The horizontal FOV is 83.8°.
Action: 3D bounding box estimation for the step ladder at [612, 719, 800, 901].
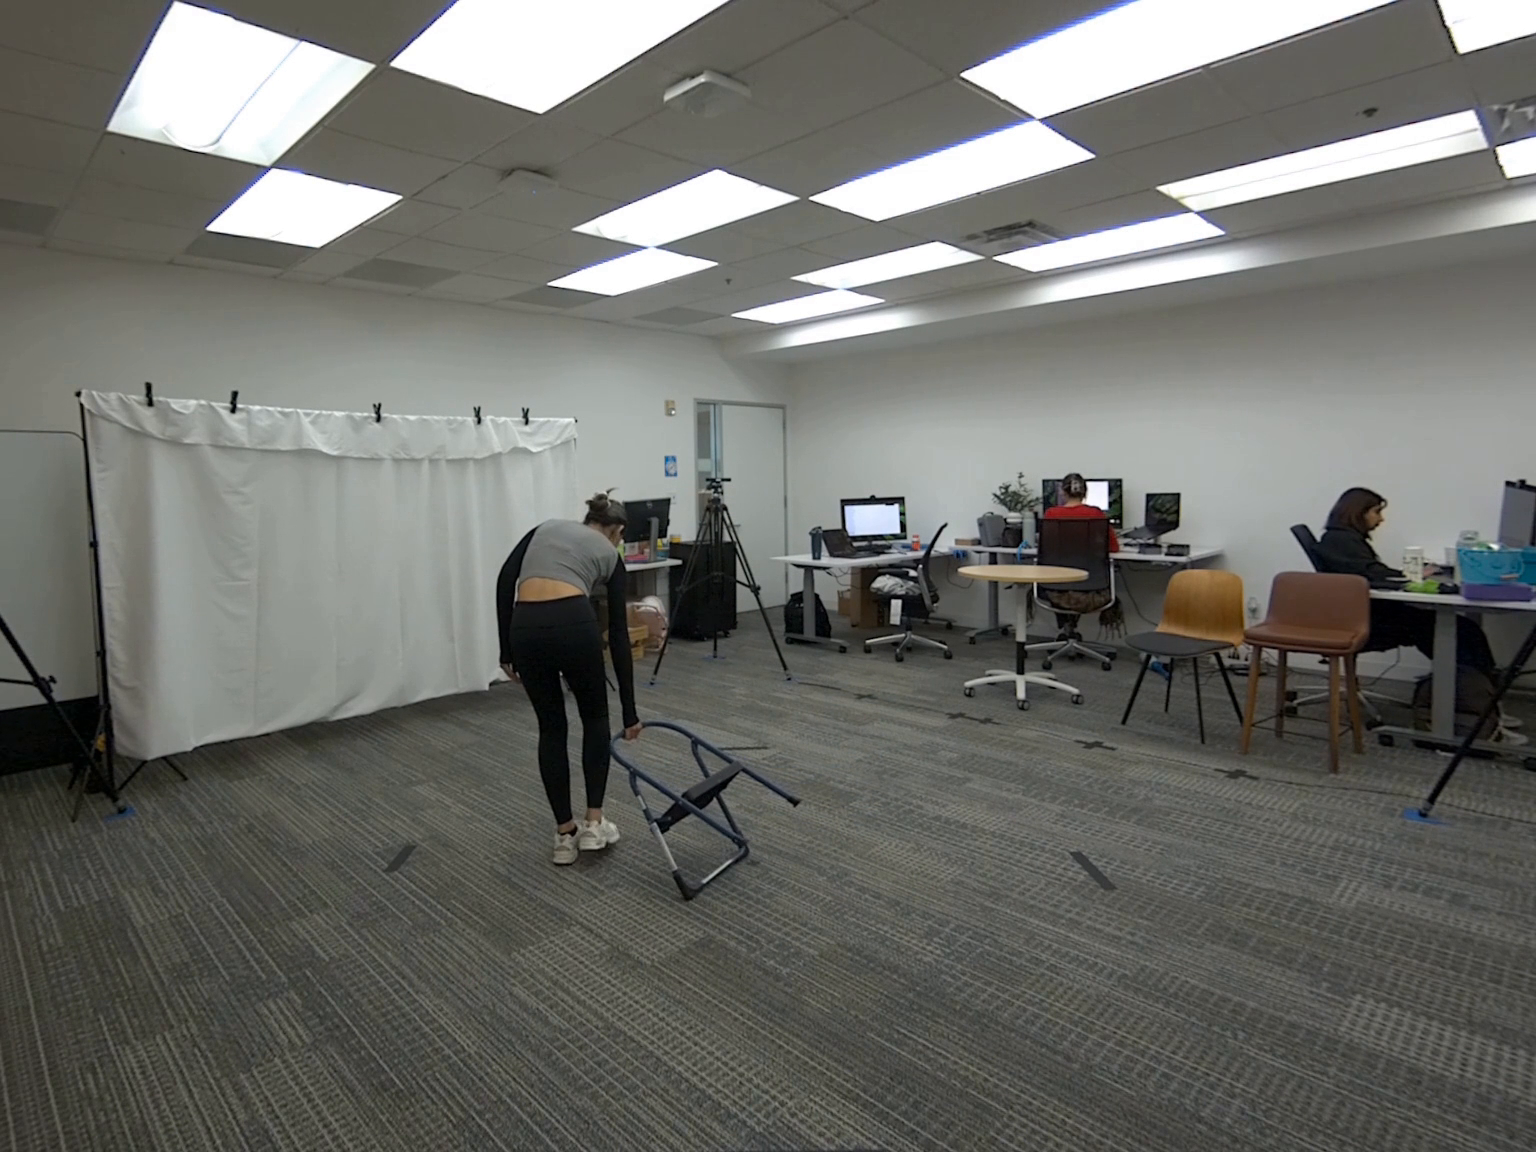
[{"bbox_3d":[-0.266,0.731,3.038,0.621,0.348,0.421,47,25,18],"label":"step ladder"}]
